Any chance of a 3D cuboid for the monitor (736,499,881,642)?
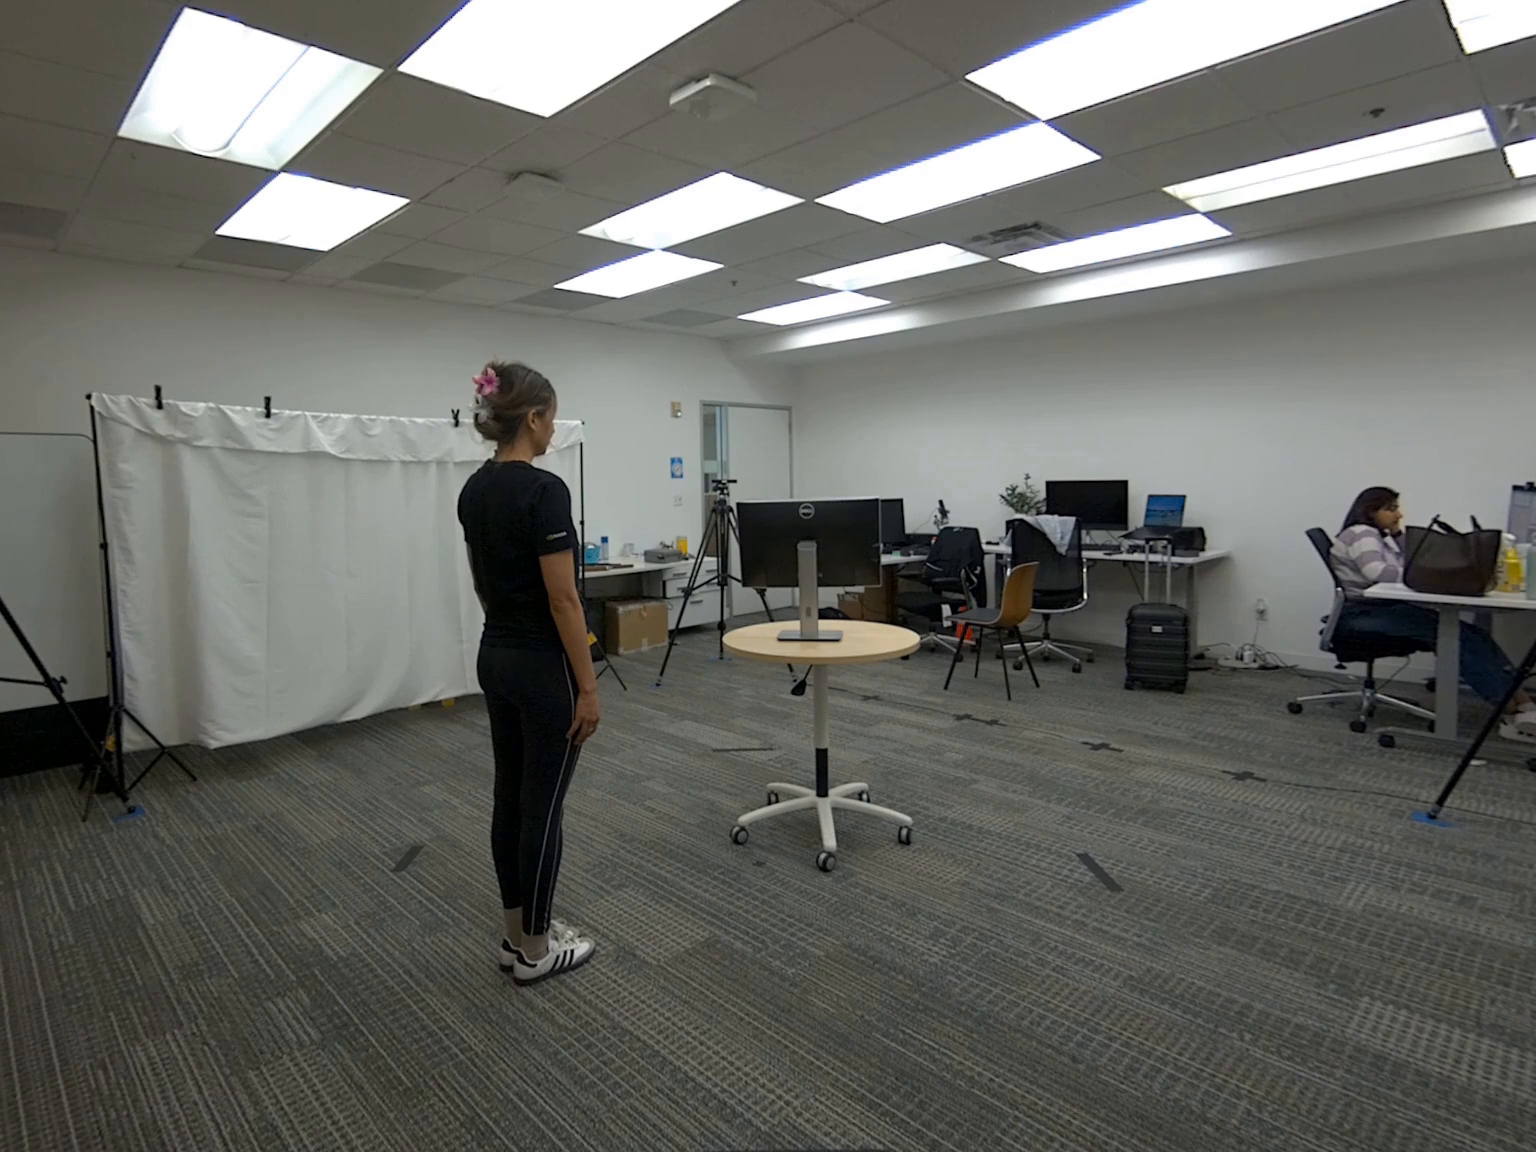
[{"bbox_3d":[0.156,-0.024,3.331,0.543,0.521,0.186,-1,3,8],"label":"monitor"}]
